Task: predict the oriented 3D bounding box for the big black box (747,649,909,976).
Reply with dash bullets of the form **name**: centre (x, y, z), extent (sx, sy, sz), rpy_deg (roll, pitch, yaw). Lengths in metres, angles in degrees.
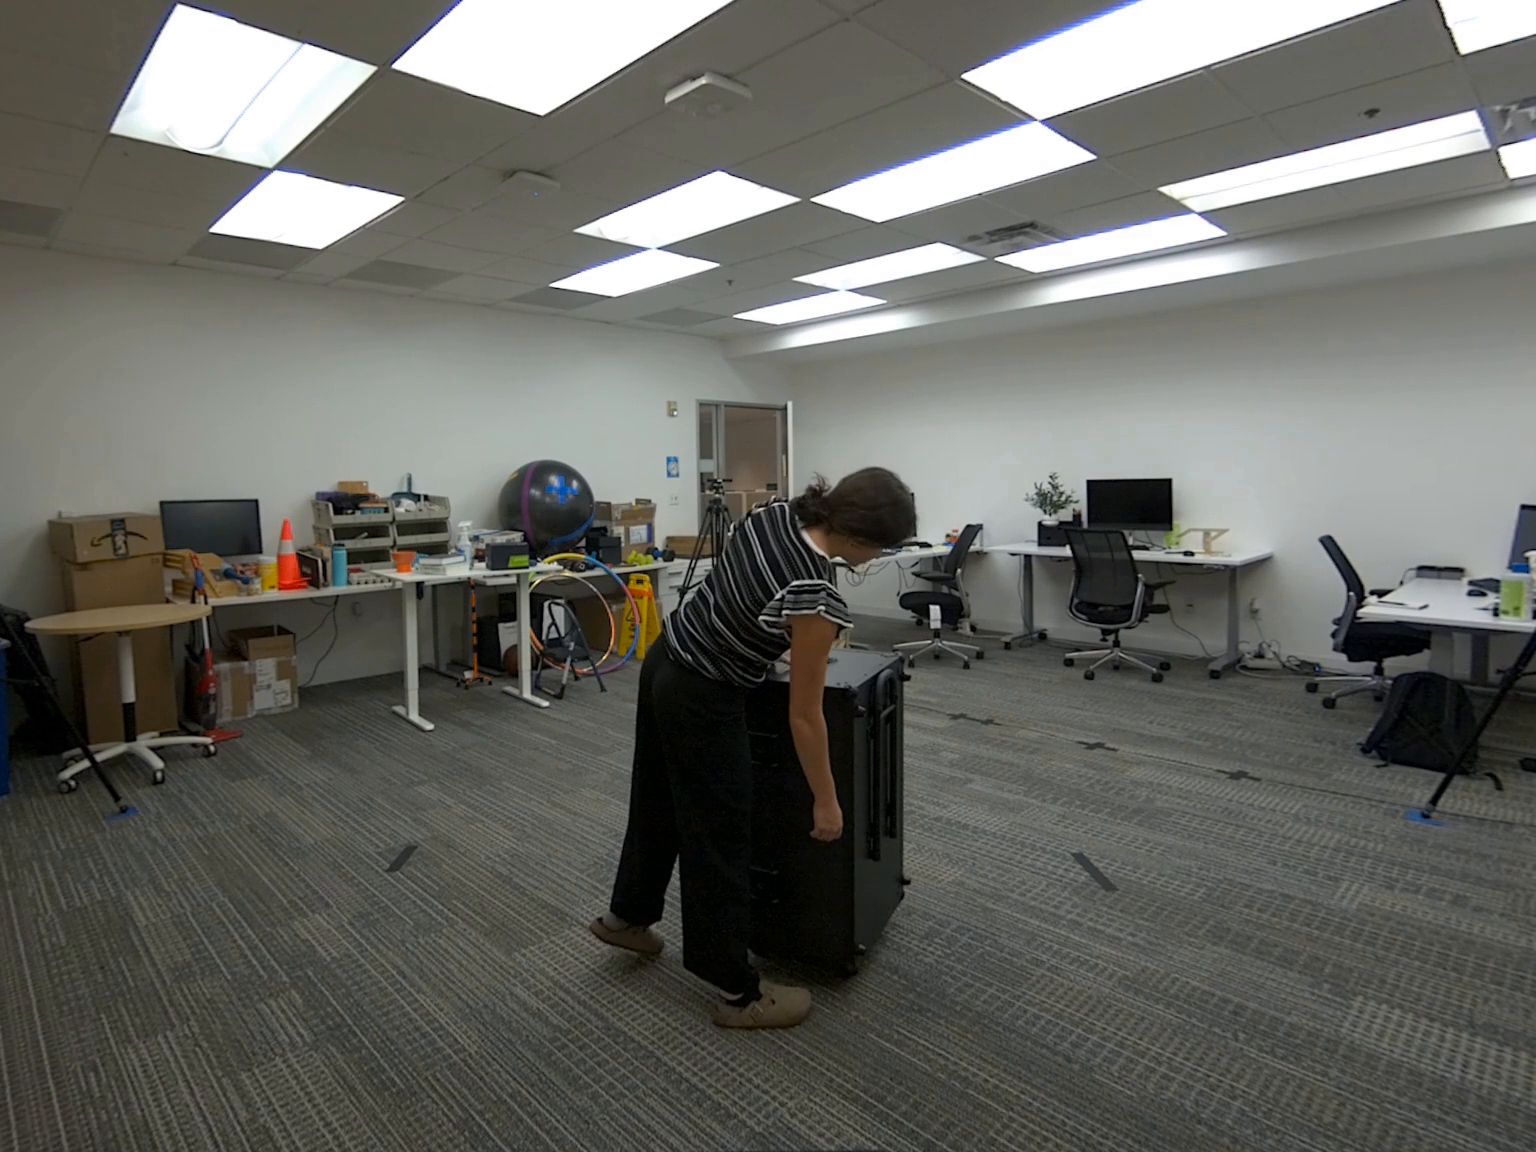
- **big black box**: centre (0.183, 0.684, 2.544), extent (0.406, 0.857, 0.511), rpy_deg (3, 6, 26)
